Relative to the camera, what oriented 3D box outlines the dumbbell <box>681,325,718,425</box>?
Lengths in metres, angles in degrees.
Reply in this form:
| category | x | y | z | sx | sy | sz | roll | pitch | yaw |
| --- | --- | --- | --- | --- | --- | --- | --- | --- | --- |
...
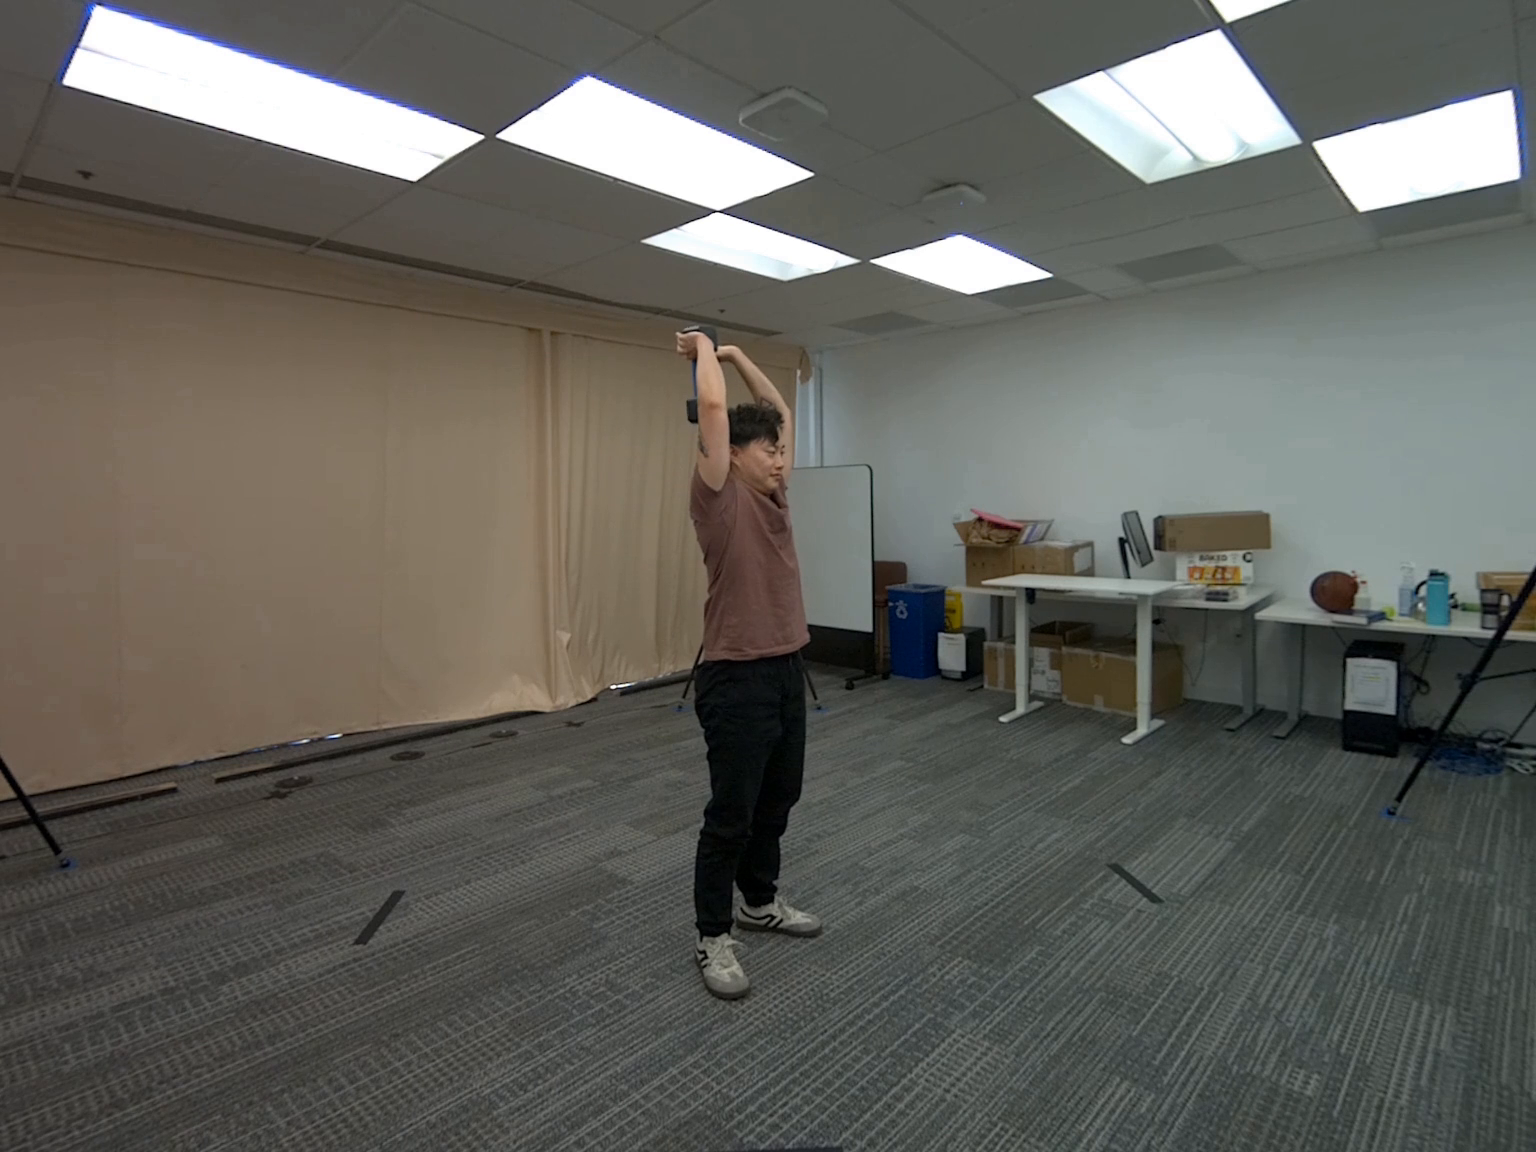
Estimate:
| category | x | y | z | sx | sy | sz | roll | pitch | yaw |
| --- | --- | --- | --- | --- | --- | --- | --- | --- | --- |
| dumbbell | -0.202 | -0.622 | 2.627 | 0.127 | 0.292 | 0.106 | 2 | 6 | 34 |
